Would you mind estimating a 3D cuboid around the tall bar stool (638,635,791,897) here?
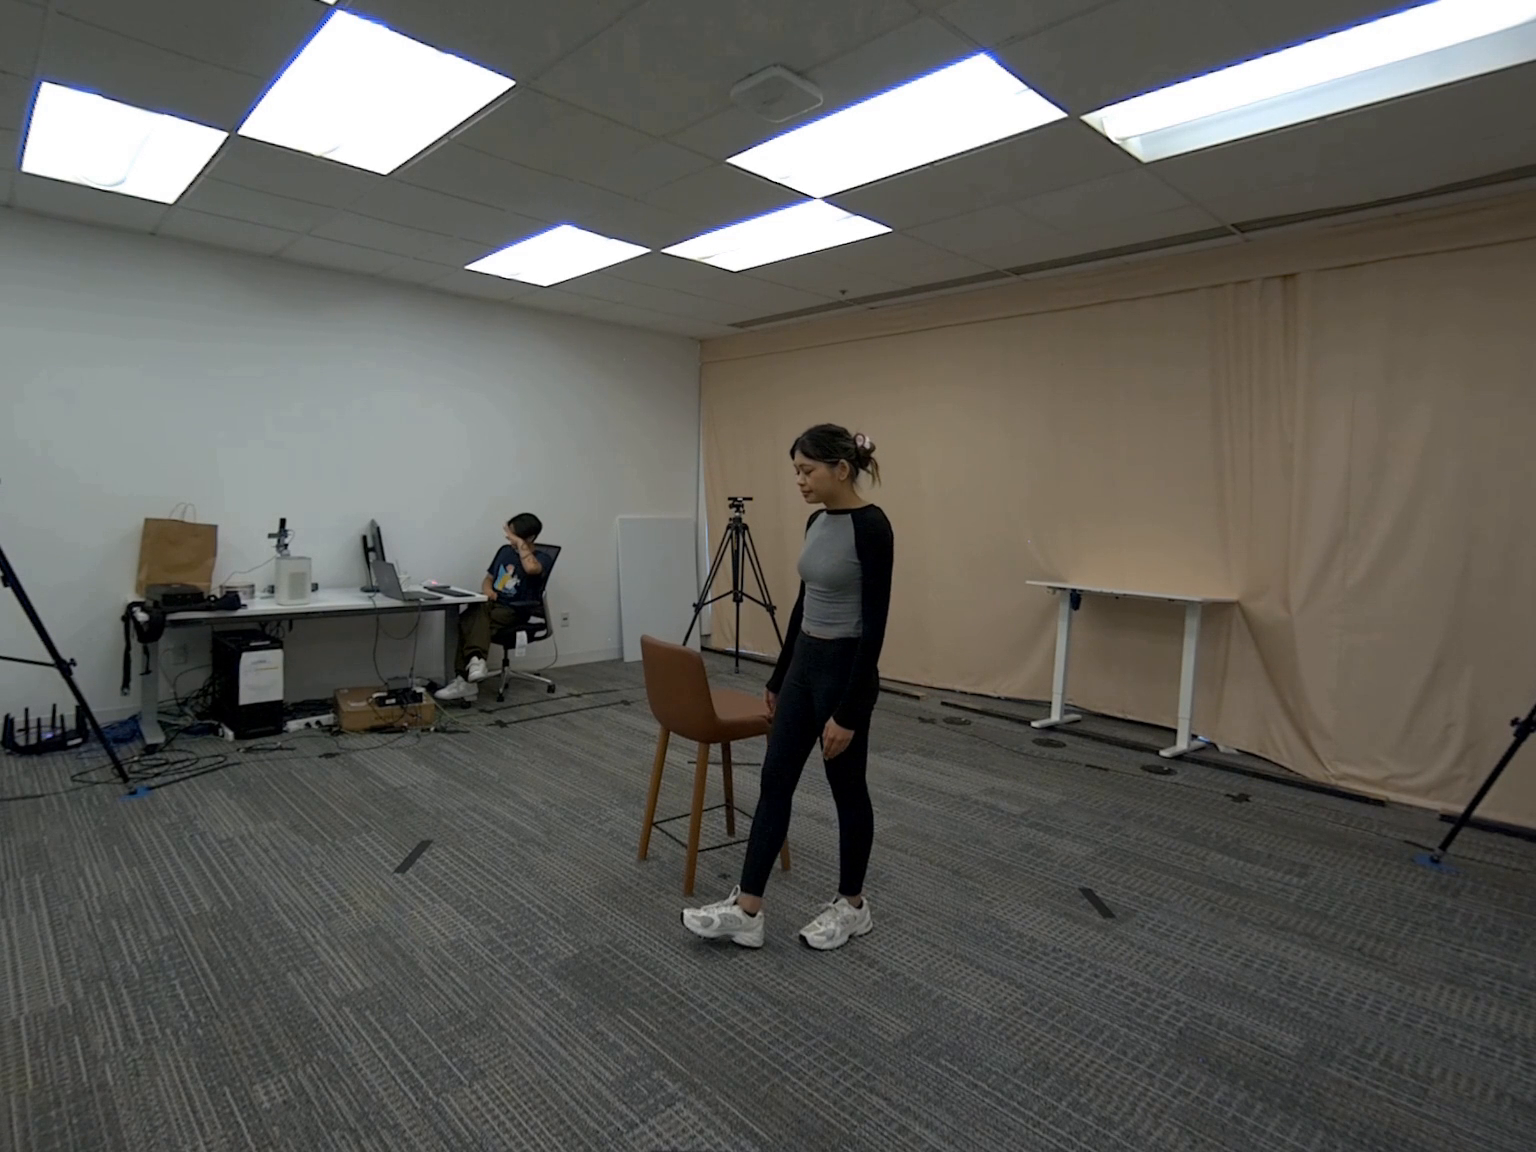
[{"bbox_3d":[-0.214,0.663,3.183,0.458,0.887,0.467,-3,5,-35],"label":"tall bar stool"}]
